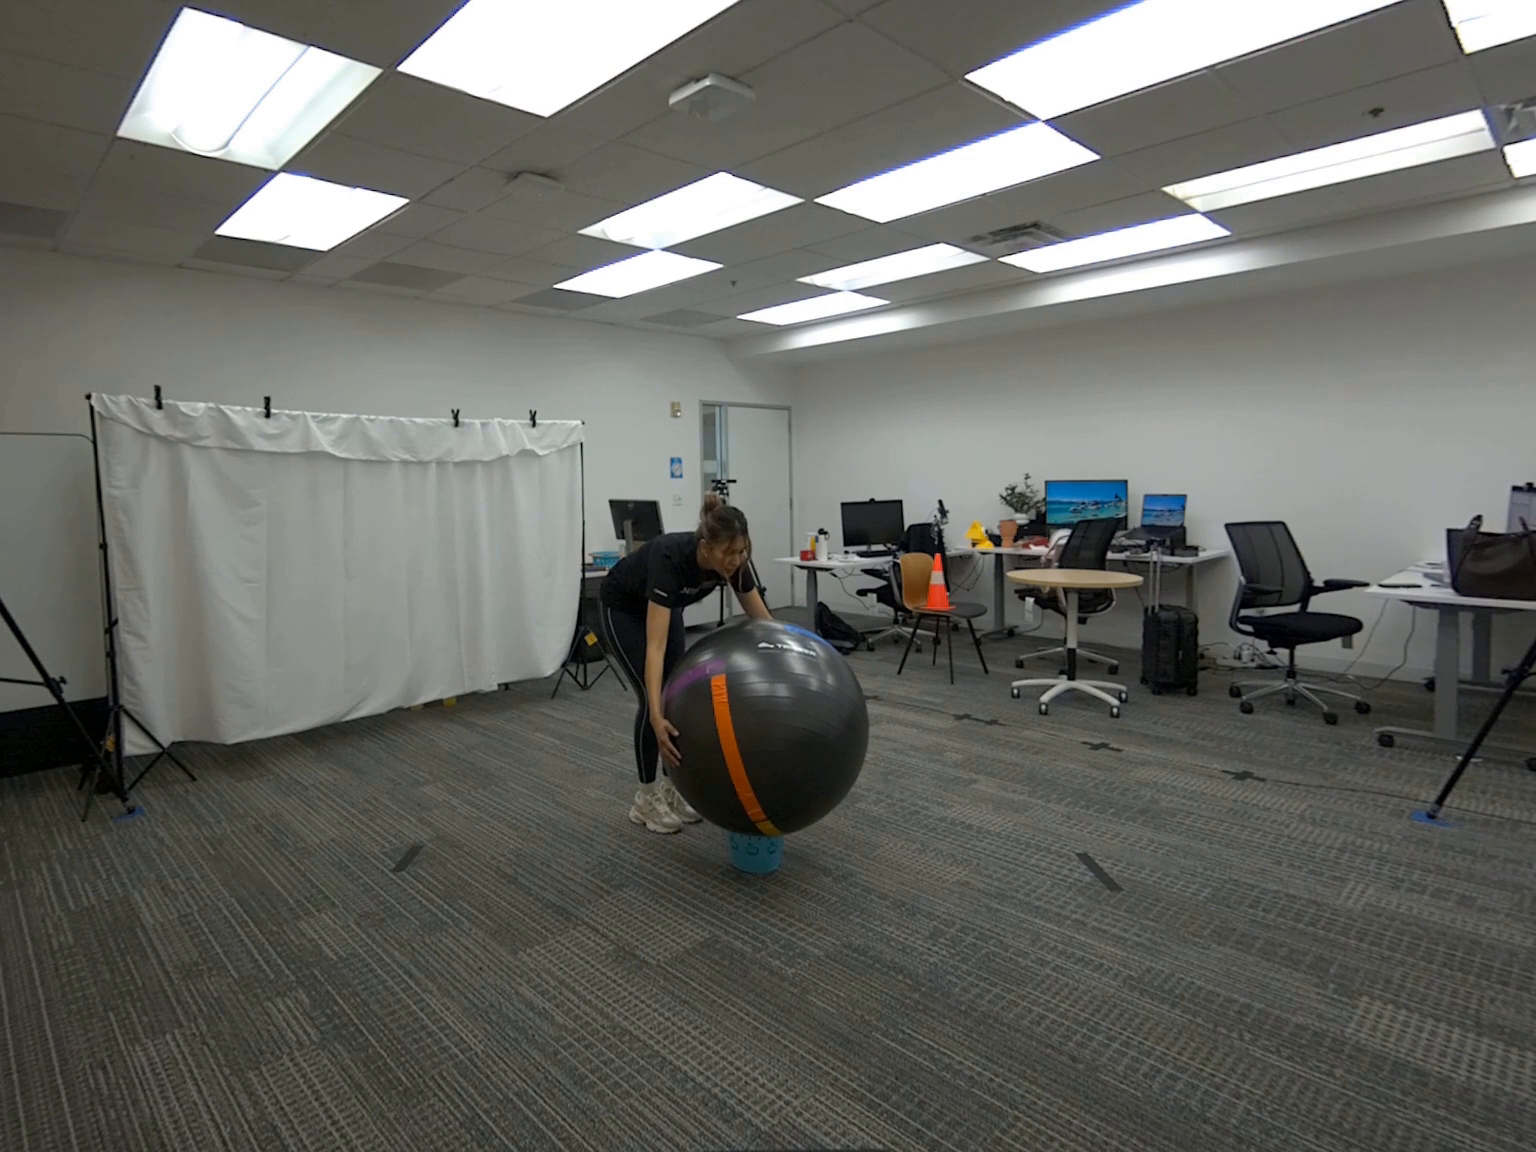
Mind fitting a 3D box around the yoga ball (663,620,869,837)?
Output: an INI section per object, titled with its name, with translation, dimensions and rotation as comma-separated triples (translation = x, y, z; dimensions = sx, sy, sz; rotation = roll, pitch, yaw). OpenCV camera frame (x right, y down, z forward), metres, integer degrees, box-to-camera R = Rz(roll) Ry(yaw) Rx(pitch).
[yoga ball]
translation = -0.019, 0.542, 3.068
dimensions = 0.757, 0.755, 0.762
rotation = -1, 5, -2
